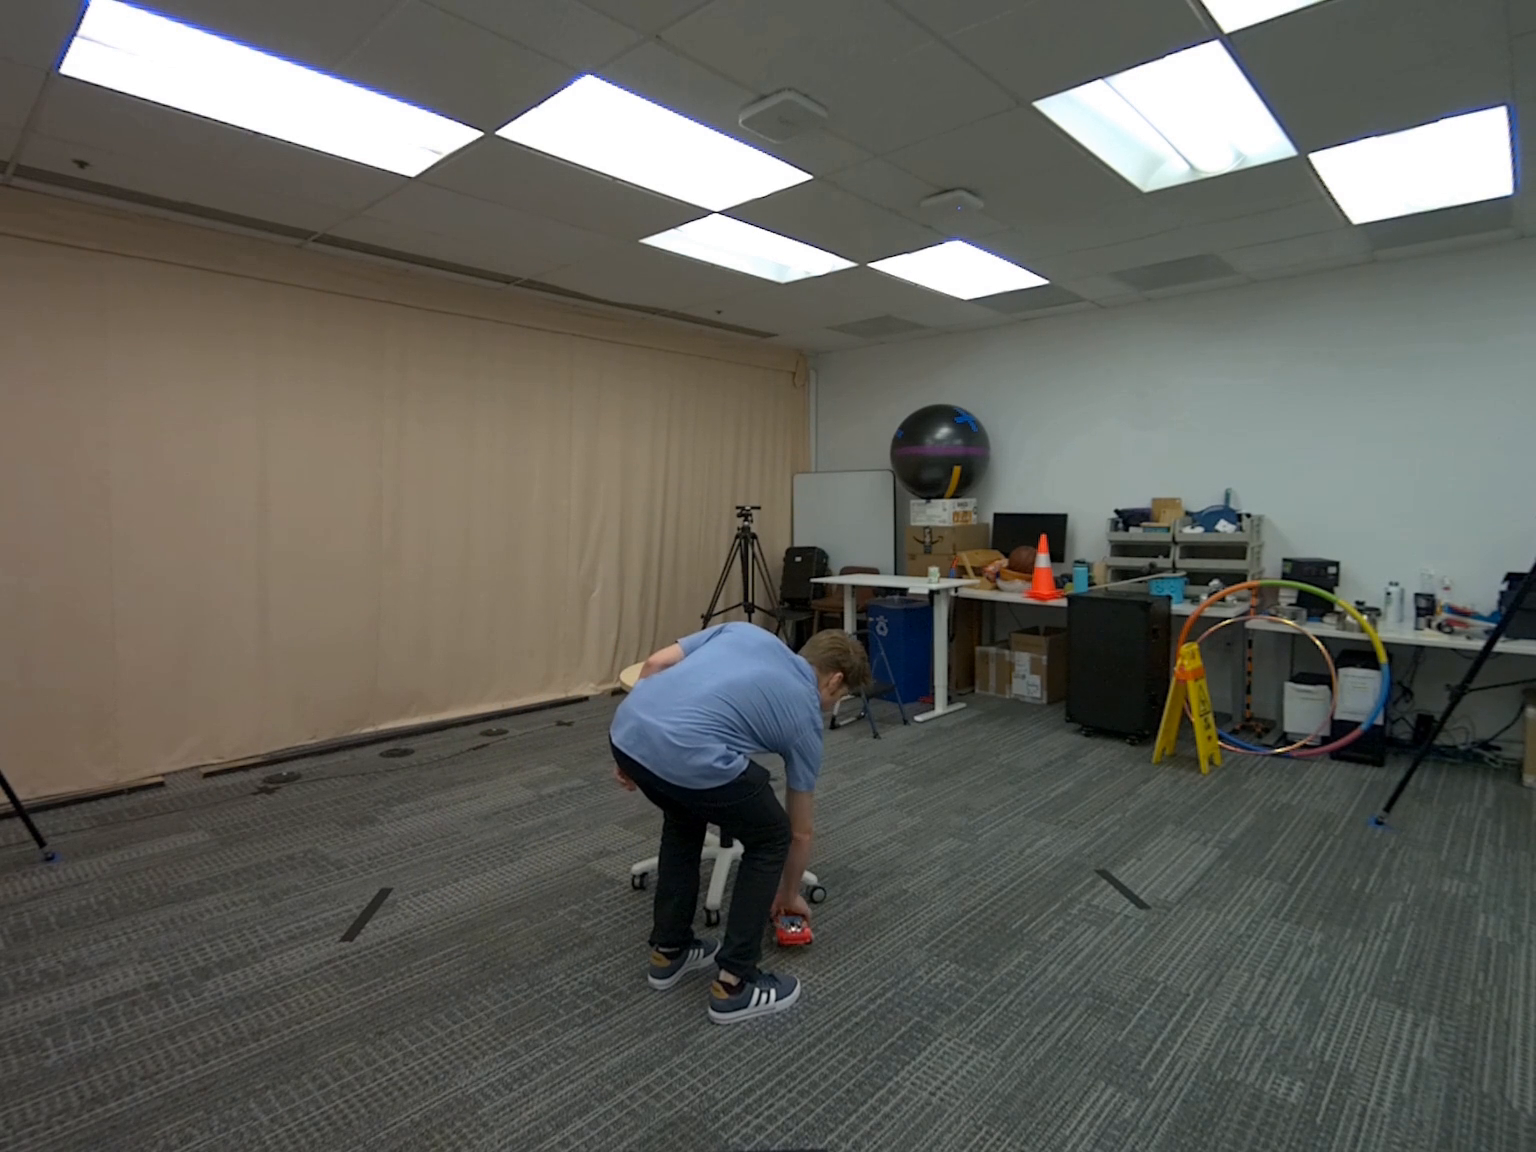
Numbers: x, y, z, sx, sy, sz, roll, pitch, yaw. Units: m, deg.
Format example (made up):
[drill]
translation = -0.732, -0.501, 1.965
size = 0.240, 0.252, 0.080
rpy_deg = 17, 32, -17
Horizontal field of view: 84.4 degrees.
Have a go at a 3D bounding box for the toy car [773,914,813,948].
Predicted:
[toy car]
translation = 0.076, 1.107, 2.712
size = 0.130, 0.082, 0.258
rpy_deg = -3, 16, -4
